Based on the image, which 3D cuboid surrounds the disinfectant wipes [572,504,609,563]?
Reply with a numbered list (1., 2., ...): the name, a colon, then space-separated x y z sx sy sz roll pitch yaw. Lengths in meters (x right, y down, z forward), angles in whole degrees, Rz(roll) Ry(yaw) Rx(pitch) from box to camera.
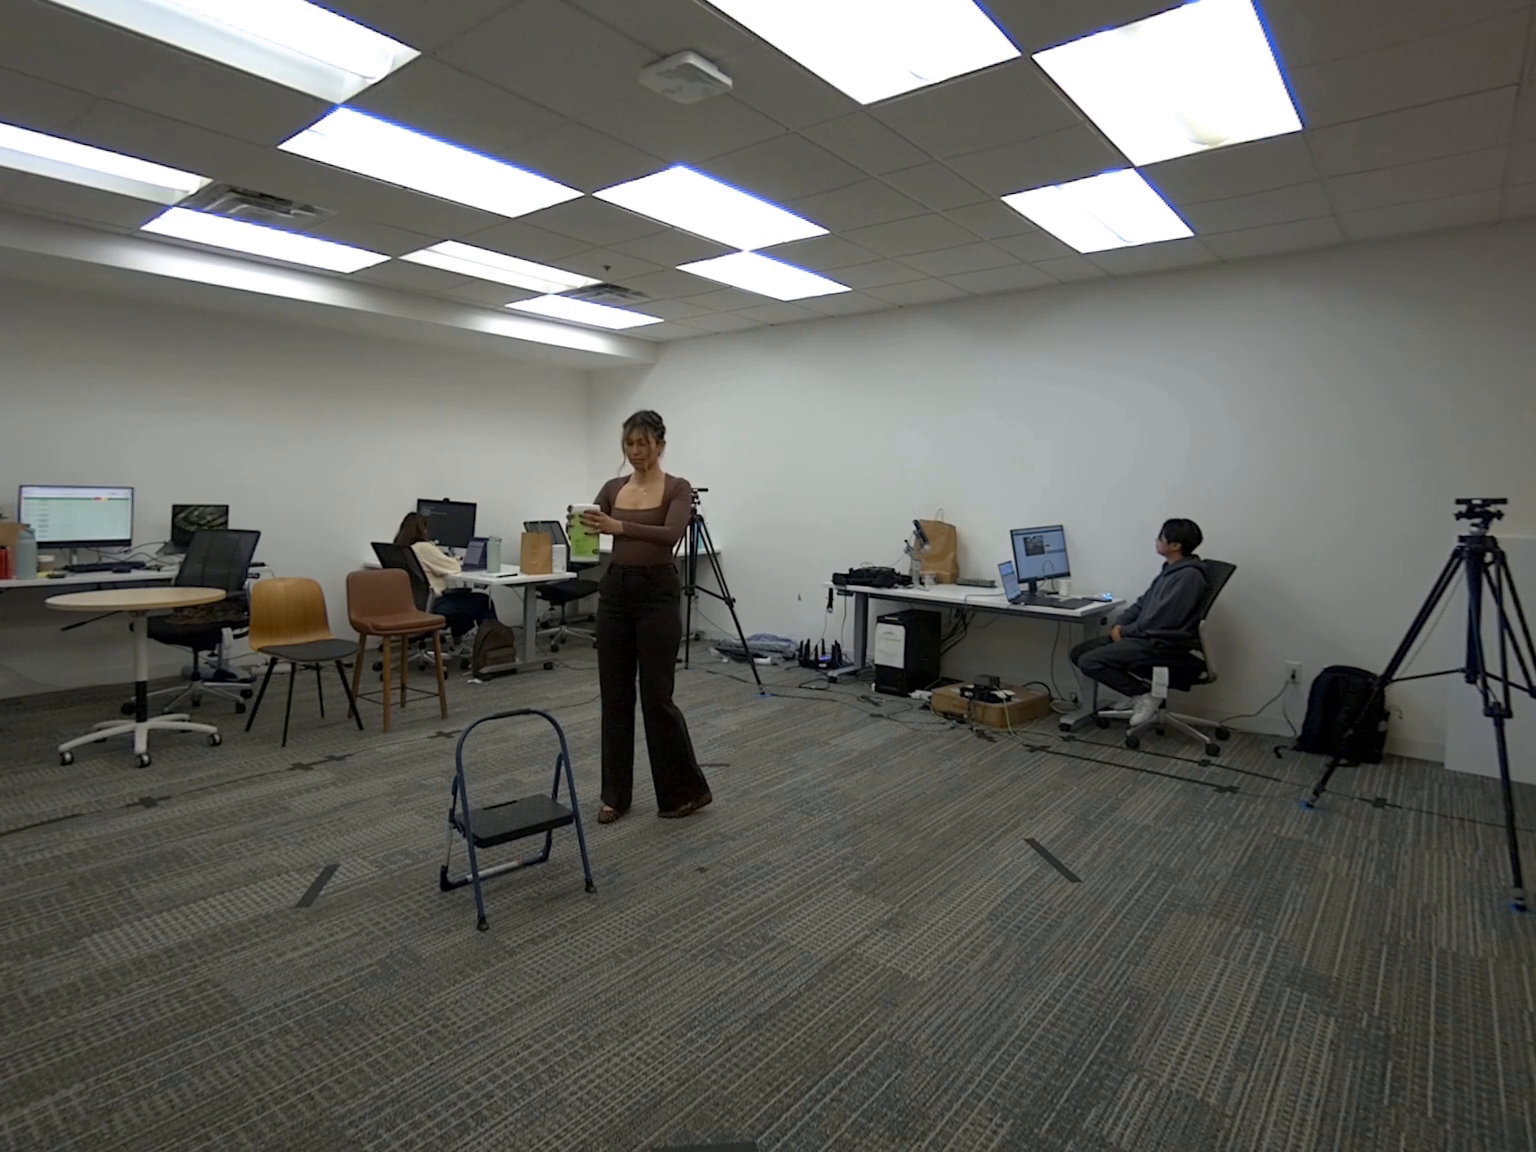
1. disinfectant wipes: -0.680 -0.164 3.224 0.118 0.217 0.118 1 0 -2
